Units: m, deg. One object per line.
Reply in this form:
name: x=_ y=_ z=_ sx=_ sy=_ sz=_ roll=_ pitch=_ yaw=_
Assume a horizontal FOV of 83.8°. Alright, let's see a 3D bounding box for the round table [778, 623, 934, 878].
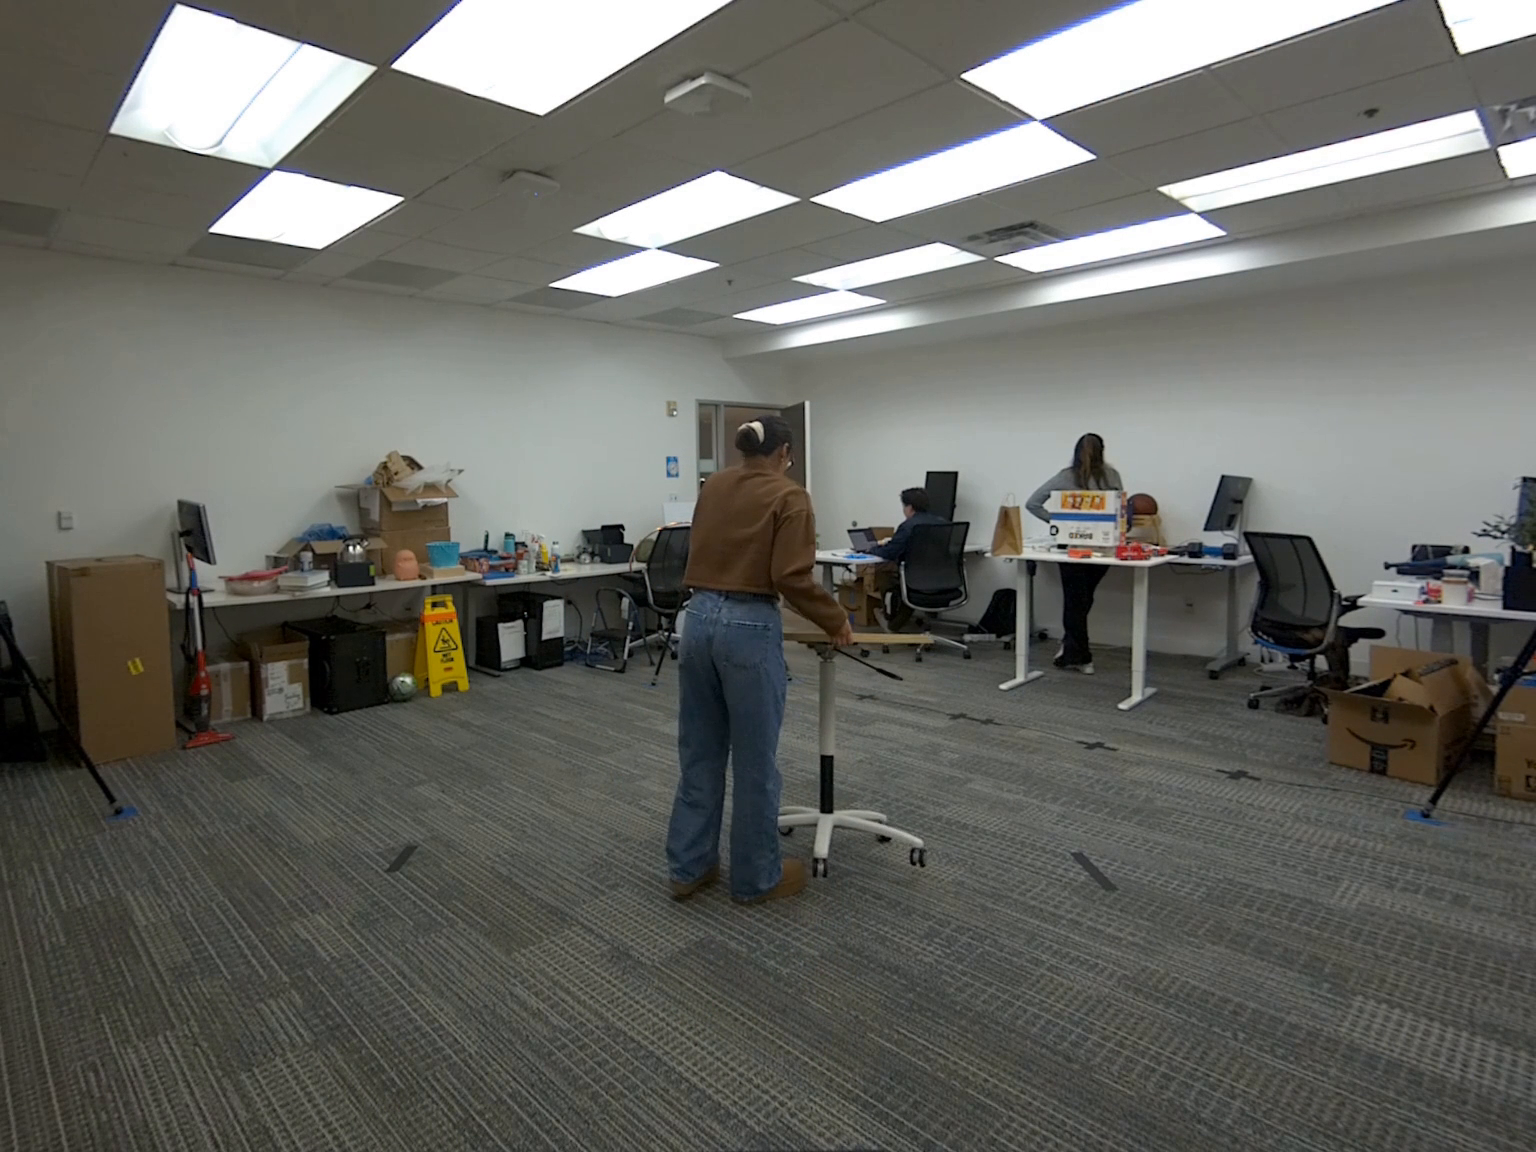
round table: x=0.224 y=0.607 z=3.115 sx=0.763 sy=0.798 sz=0.761 roll=1 pitch=-5 yaw=-2
